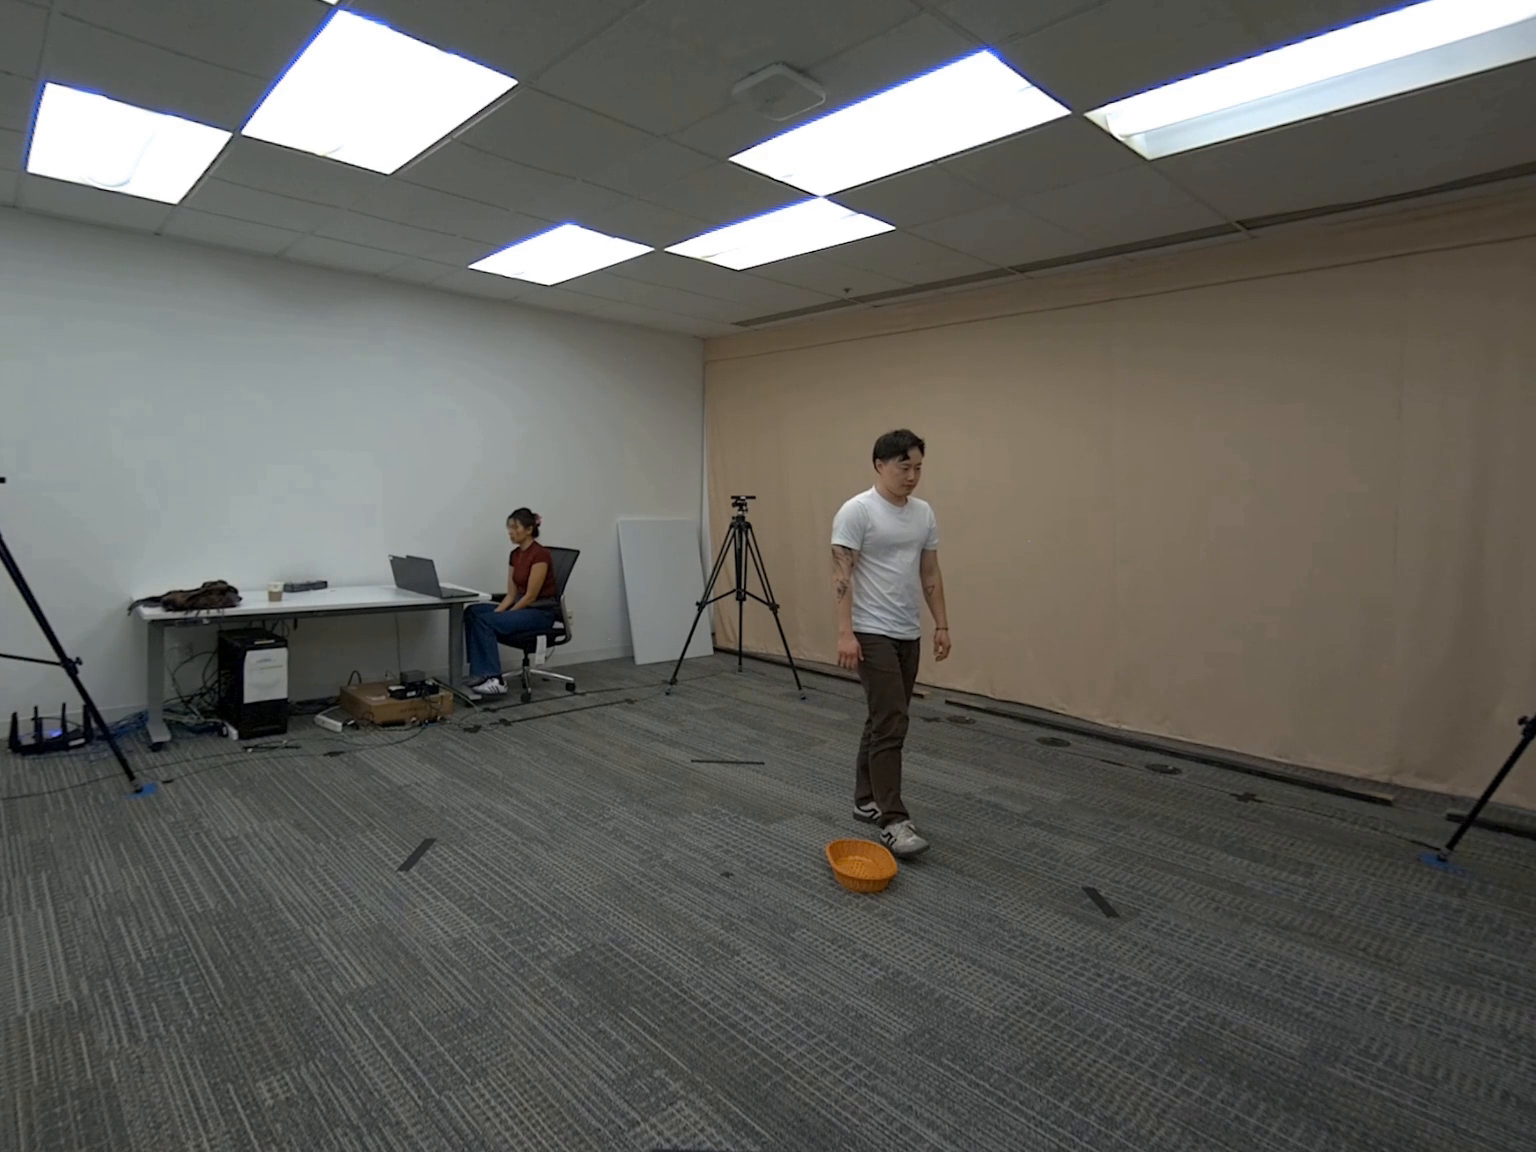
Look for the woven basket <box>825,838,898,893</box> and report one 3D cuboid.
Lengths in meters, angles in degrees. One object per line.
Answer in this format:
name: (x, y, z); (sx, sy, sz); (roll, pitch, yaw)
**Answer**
woven basket: (0.336, 1.072, 3.116); (0.252, 0.073, 0.352); (2, 5, -2)
